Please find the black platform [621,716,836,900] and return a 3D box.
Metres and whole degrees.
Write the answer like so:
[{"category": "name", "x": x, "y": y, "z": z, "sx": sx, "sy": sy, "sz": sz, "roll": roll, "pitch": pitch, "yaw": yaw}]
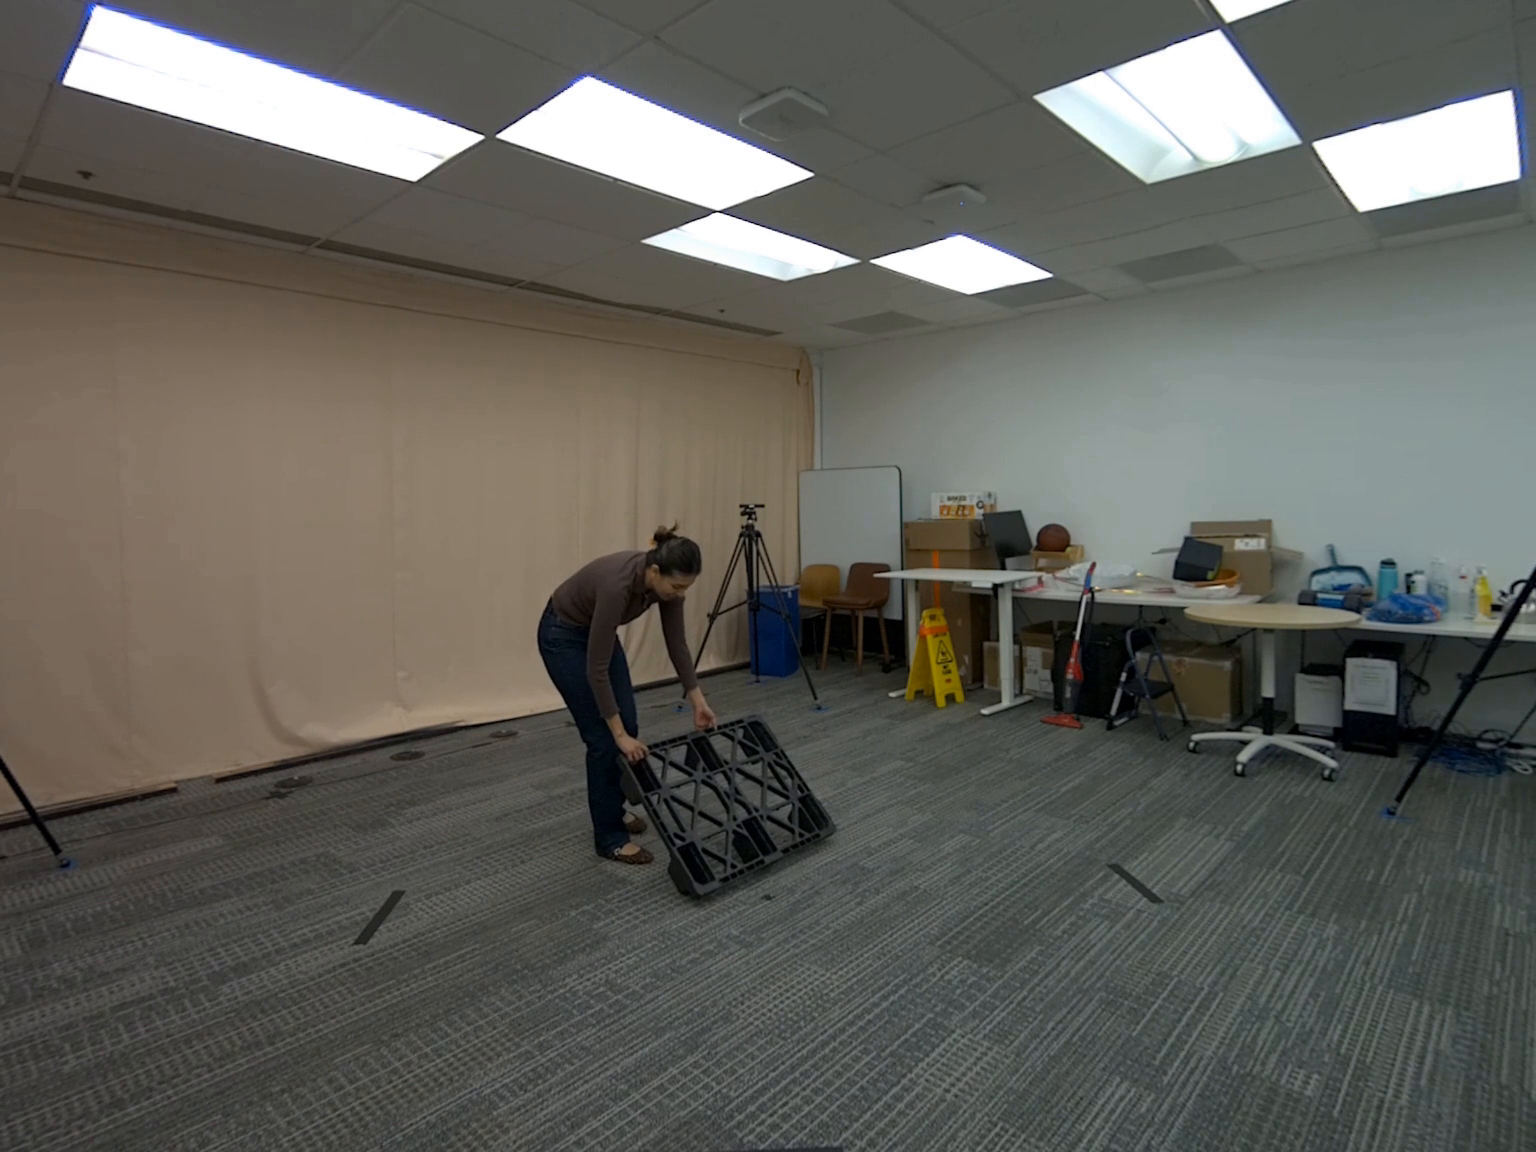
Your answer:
[{"category": "black platform", "x": -0.163, "y": 0.899, "z": 3.351, "sx": 0.781, "sy": 0.144, "sz": 0.622, "roll": -7, "pitch": 51, "yaw": -46}]
